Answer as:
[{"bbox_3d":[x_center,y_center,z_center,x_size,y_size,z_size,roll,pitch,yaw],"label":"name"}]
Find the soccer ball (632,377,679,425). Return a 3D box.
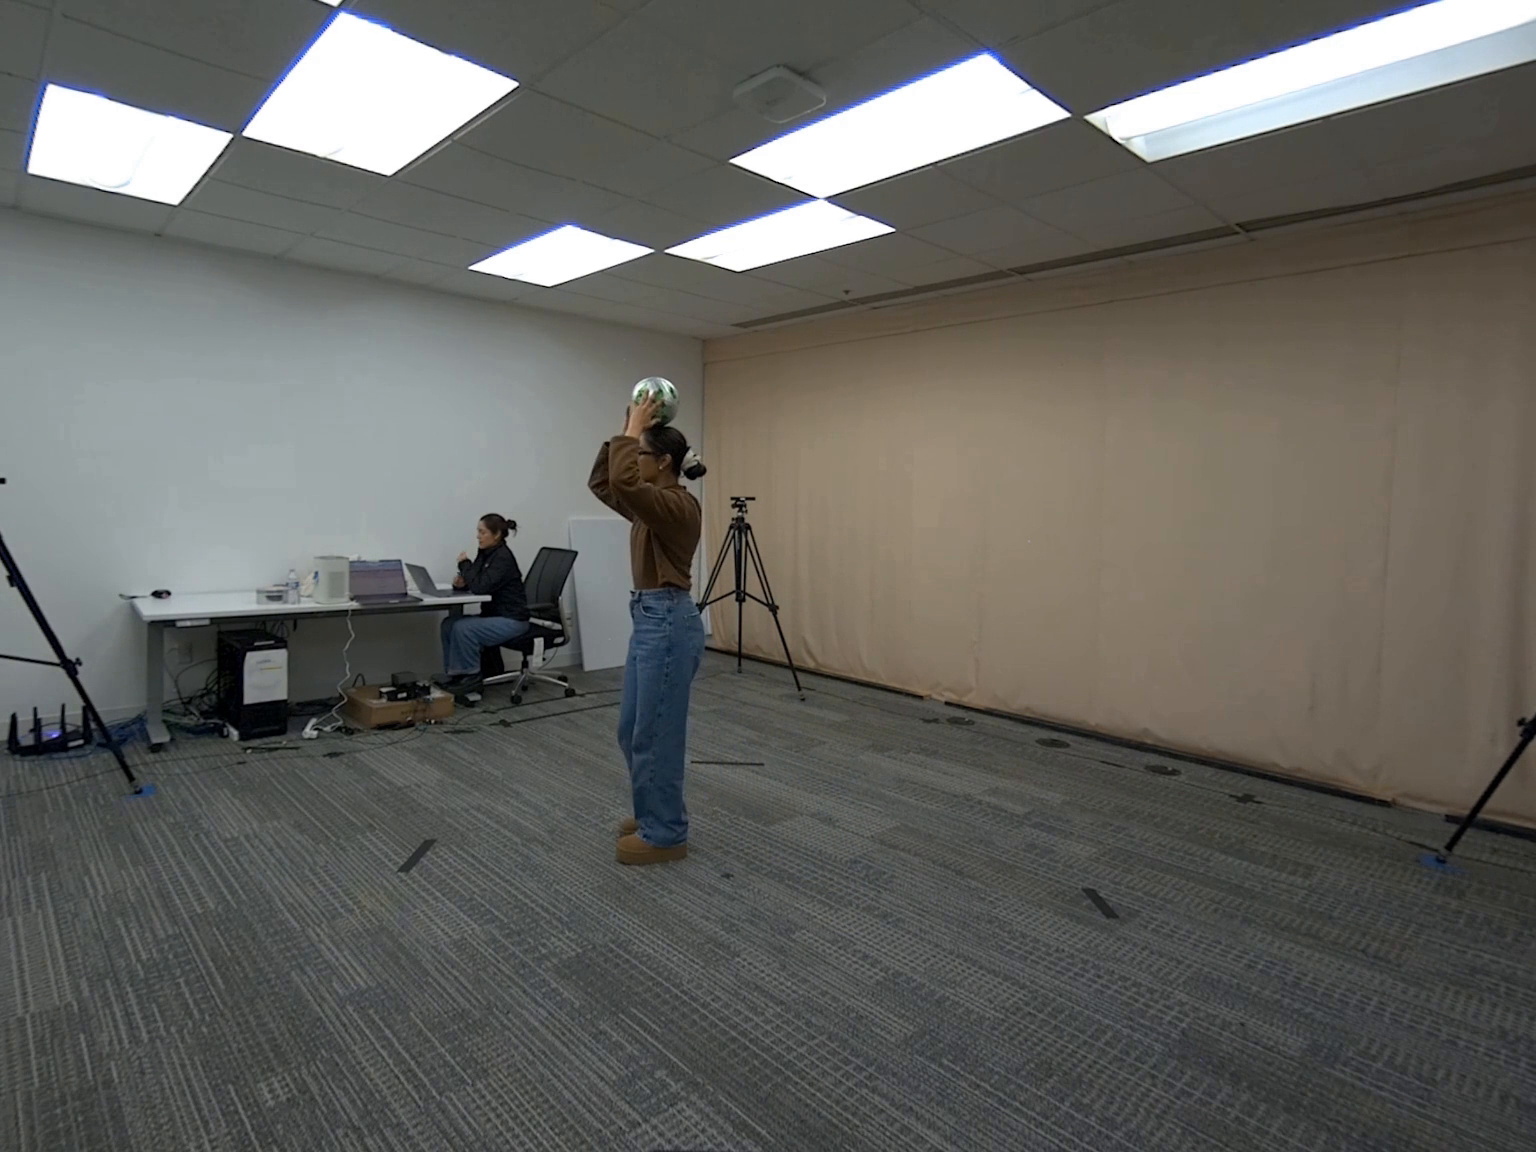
[{"bbox_3d":[-0.430,-0.653,3.157,0.187,0.187,0.188,1,4,-1],"label":"soccer ball"}]
